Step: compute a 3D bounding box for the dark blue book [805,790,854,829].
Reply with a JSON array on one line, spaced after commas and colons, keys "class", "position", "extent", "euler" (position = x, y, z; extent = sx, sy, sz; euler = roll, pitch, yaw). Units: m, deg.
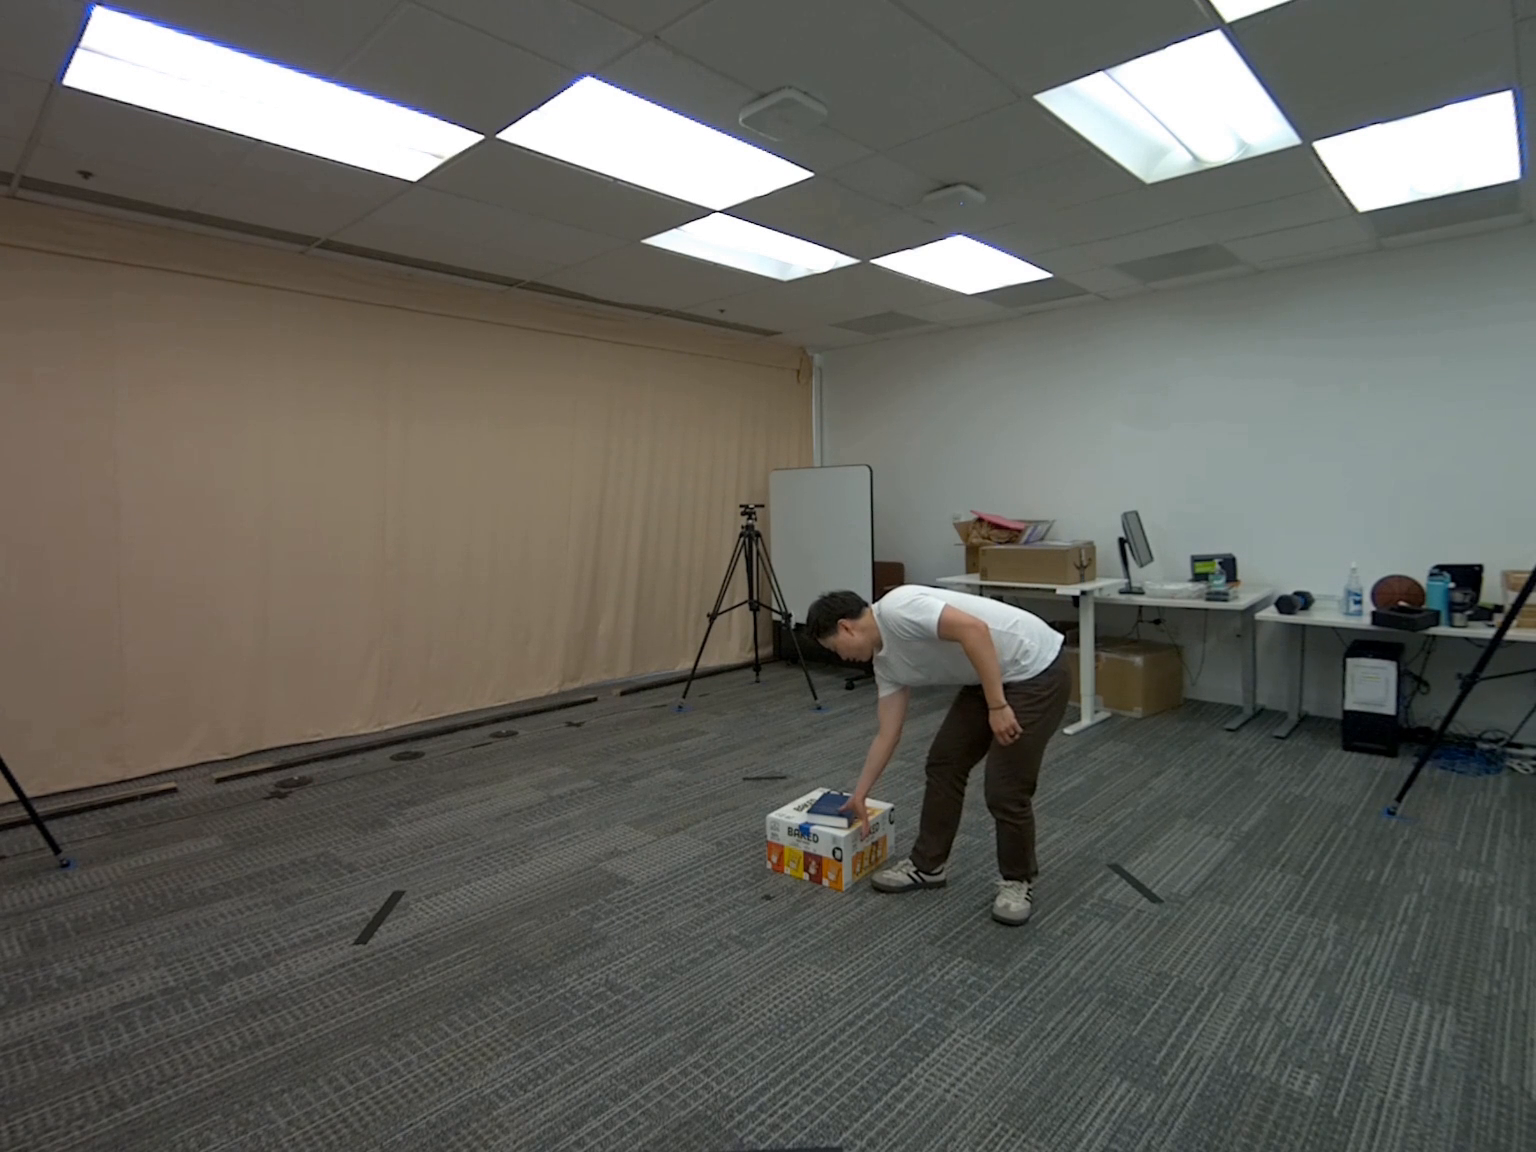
[{"class": "dark blue book", "position": [0.264, 0.897, 3.227], "extent": [0.167, 0.045, 0.240], "euler": [1, 4, 22]}]
